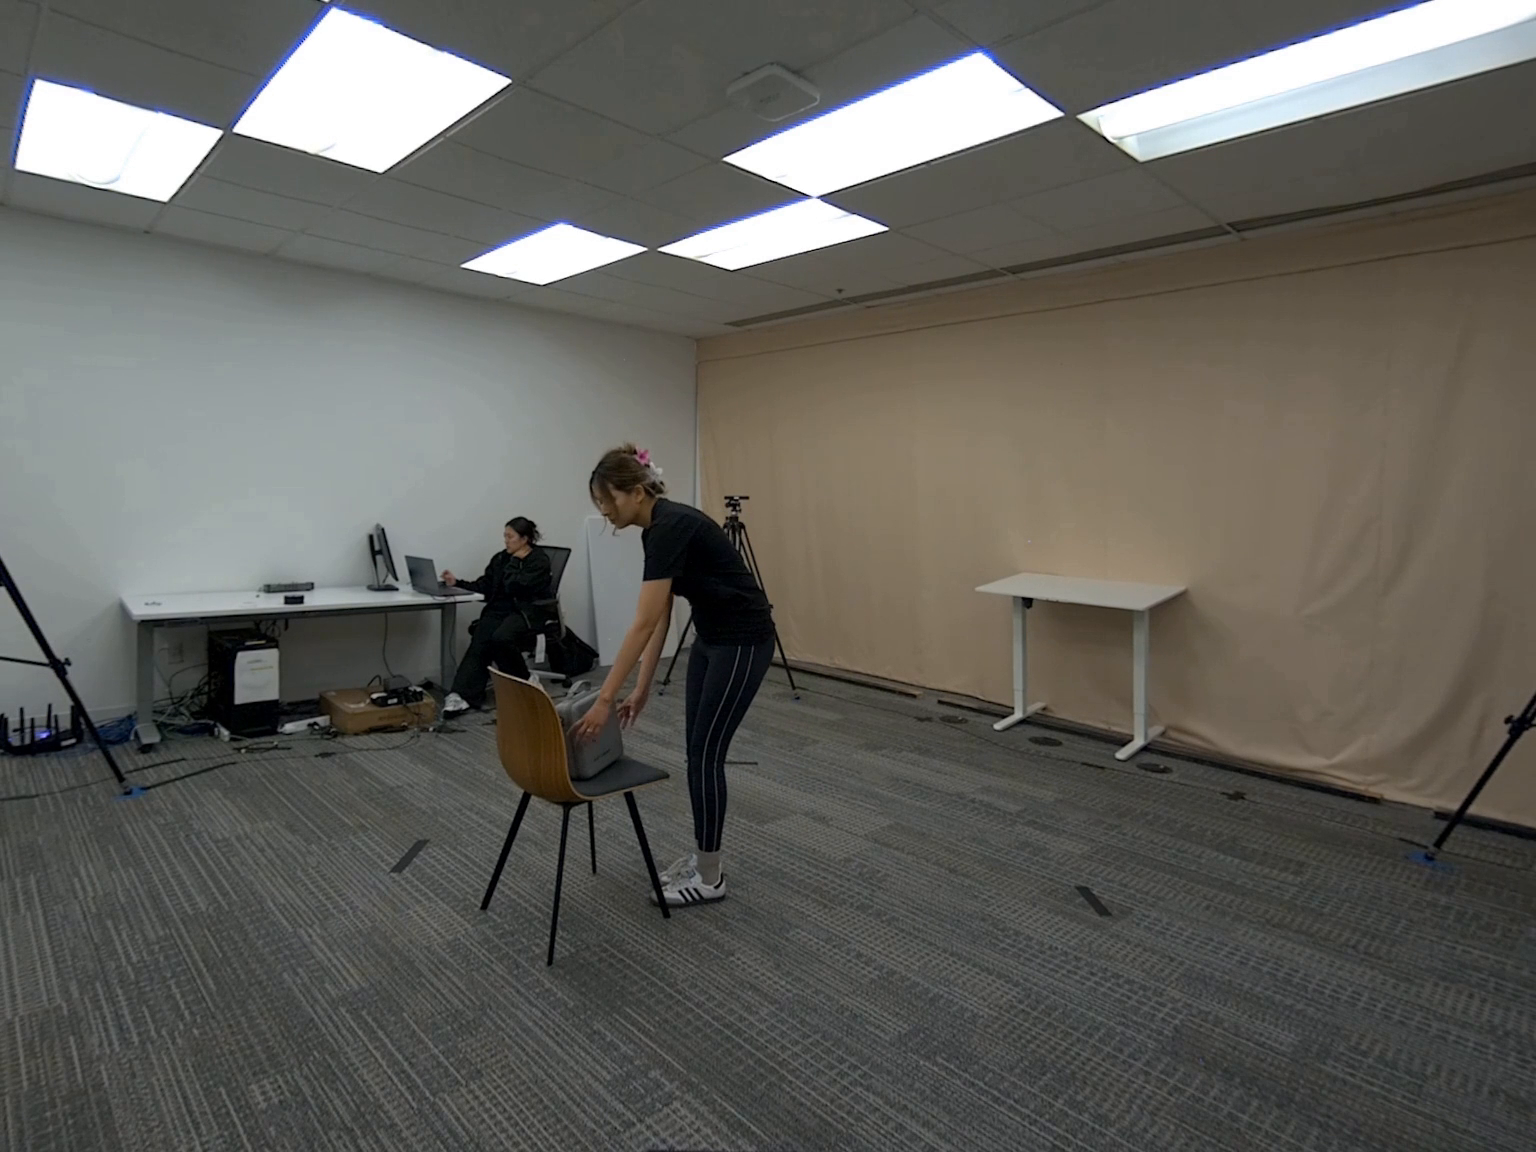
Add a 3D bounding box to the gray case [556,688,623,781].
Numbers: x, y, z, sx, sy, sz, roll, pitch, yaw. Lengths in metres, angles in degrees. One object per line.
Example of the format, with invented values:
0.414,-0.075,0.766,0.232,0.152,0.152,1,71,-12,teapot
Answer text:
-0.605,0.520,2.793,0.106,0.260,0.254,-10,3,22,gray case
